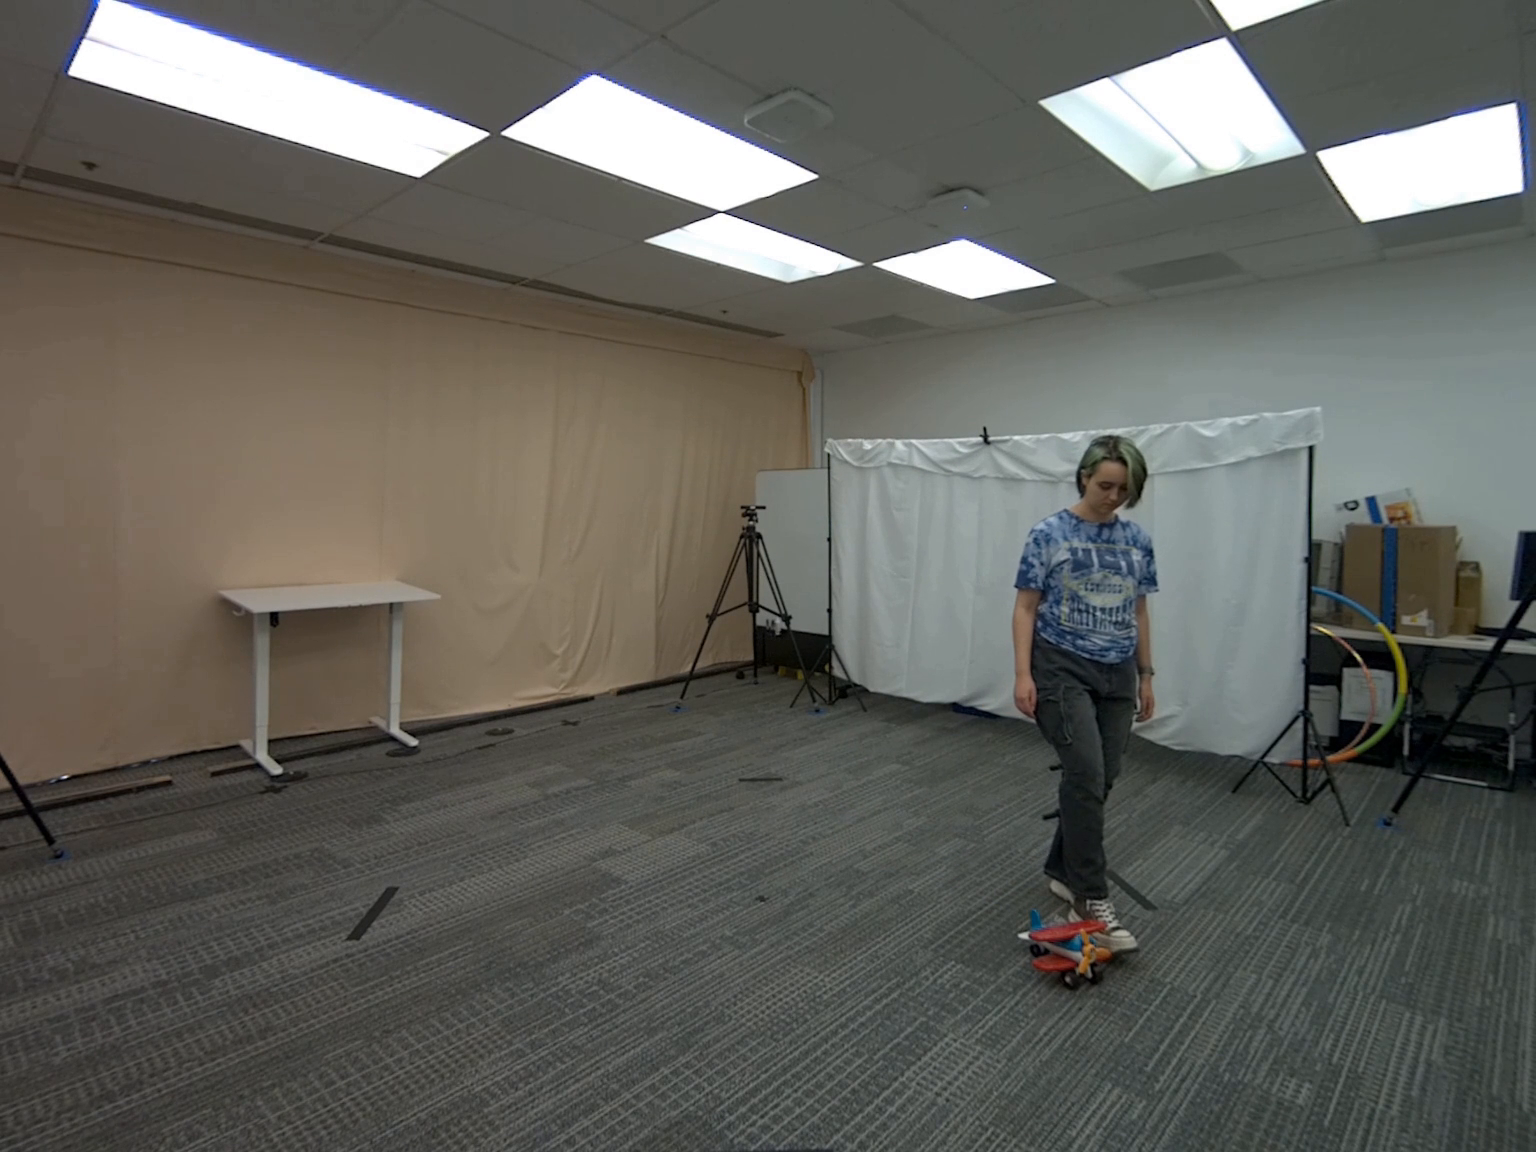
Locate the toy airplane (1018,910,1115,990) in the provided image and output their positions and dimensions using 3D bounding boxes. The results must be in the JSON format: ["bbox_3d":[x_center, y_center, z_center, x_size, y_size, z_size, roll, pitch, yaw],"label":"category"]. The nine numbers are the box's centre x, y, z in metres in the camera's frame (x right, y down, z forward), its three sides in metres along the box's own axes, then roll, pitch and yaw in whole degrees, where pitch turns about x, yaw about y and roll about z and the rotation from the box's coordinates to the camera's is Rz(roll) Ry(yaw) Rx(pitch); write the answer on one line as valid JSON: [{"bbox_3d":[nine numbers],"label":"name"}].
[{"bbox_3d":[0.873,1.109,2.511,0.268,0.156,0.243,6,7,41],"label":"toy airplane"}]
